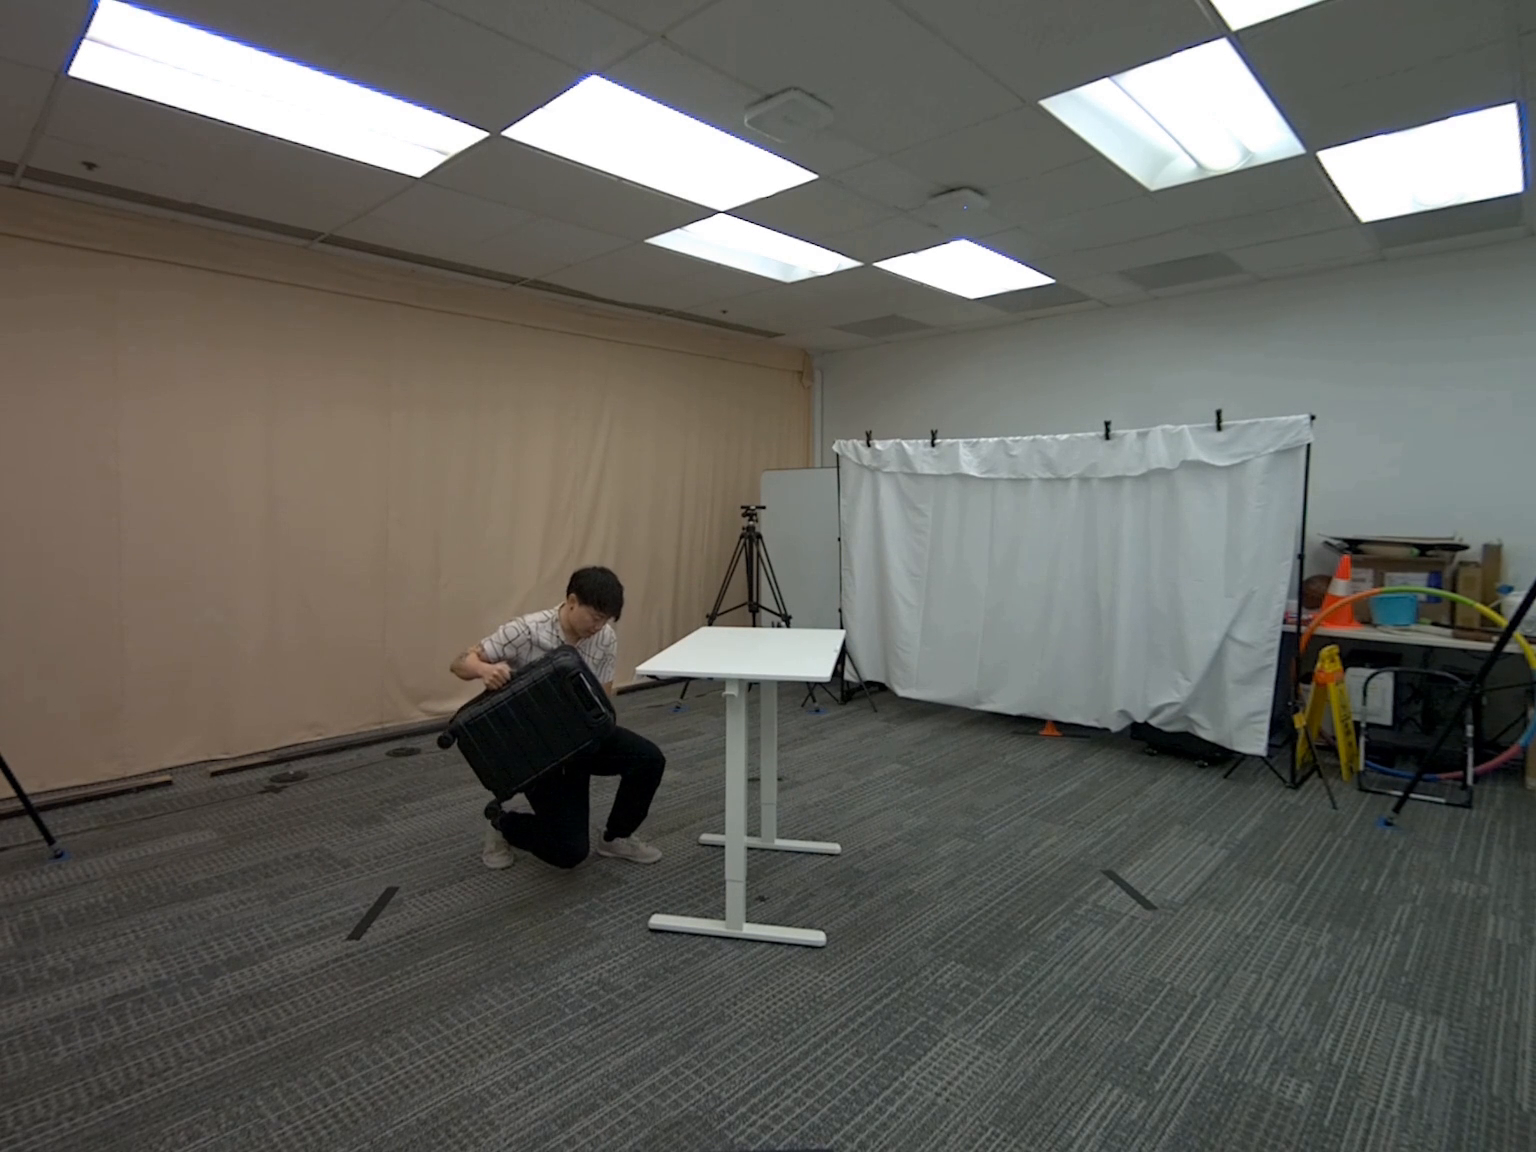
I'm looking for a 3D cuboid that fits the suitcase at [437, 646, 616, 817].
[{"bbox_3d":[-0.834,0.514,2.970,0.548,0.372,0.251,-32,8,-4],"label":"suitcase"}]
